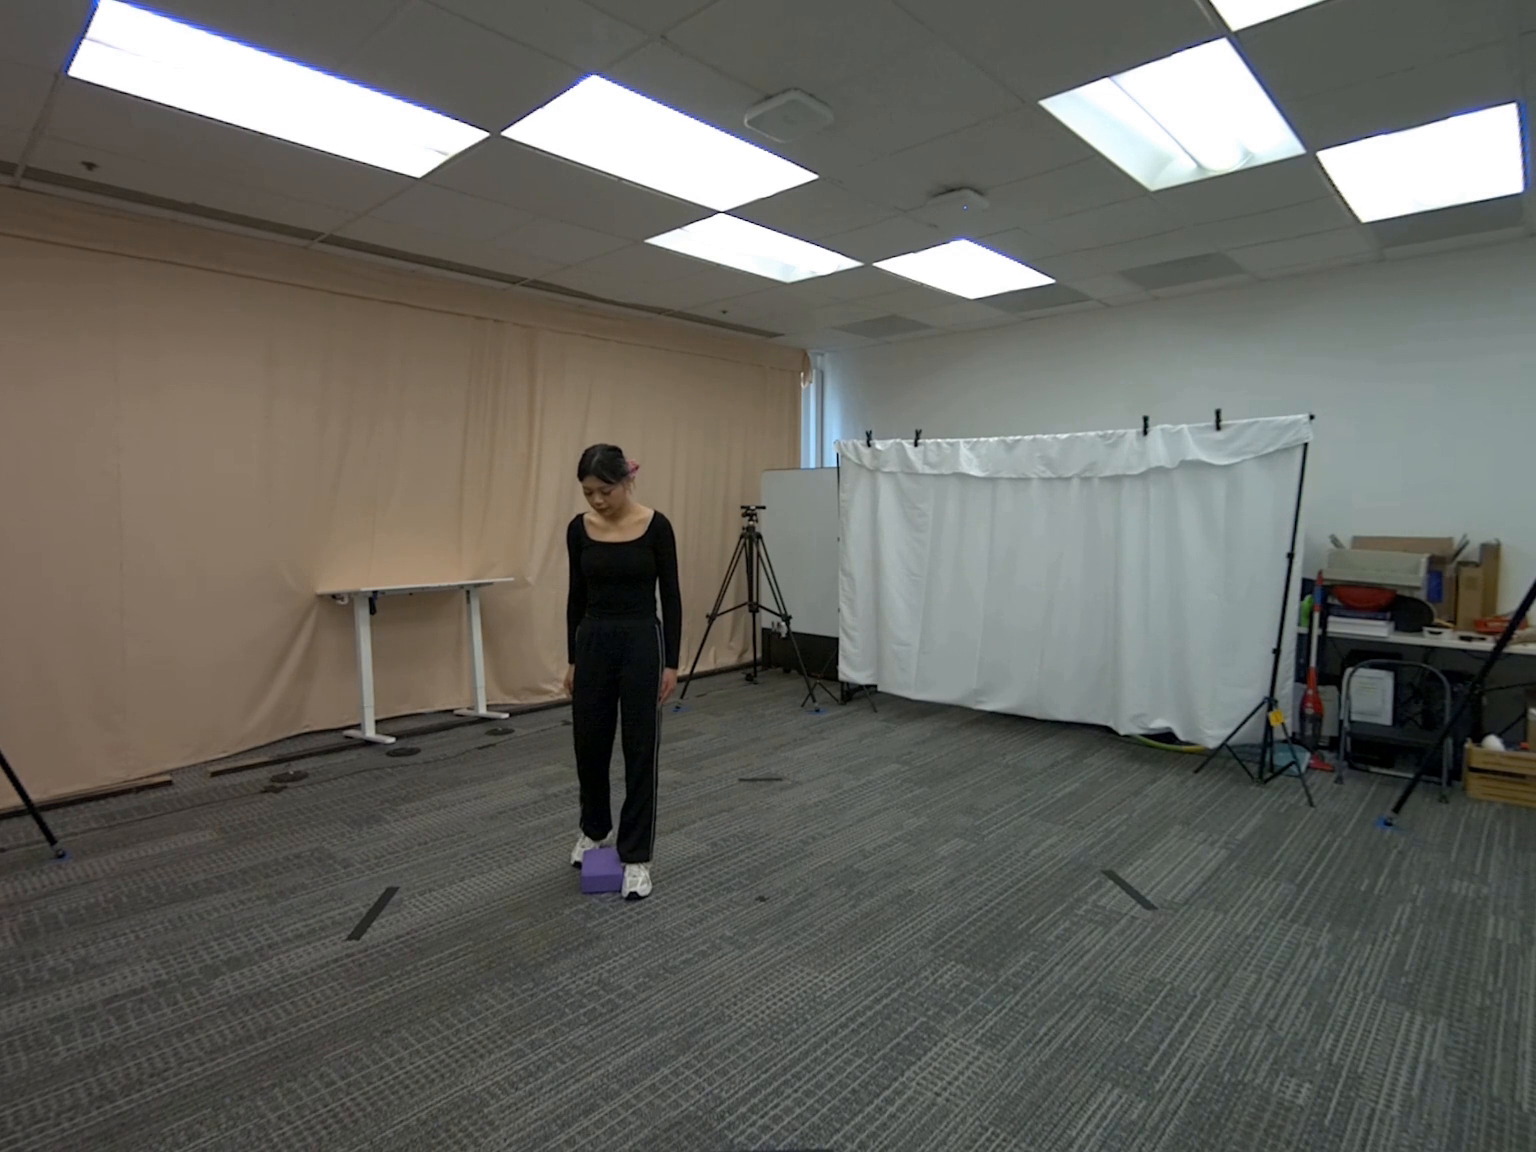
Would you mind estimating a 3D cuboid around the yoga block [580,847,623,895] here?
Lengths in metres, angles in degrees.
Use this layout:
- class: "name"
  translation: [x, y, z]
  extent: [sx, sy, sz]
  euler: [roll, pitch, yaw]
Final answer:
- class: "yoga block"
  translation: [-0.616, 1.094, 3.144]
  extent: [0.147, 0.076, 0.232]
  euler: [-2, 3, -10]
